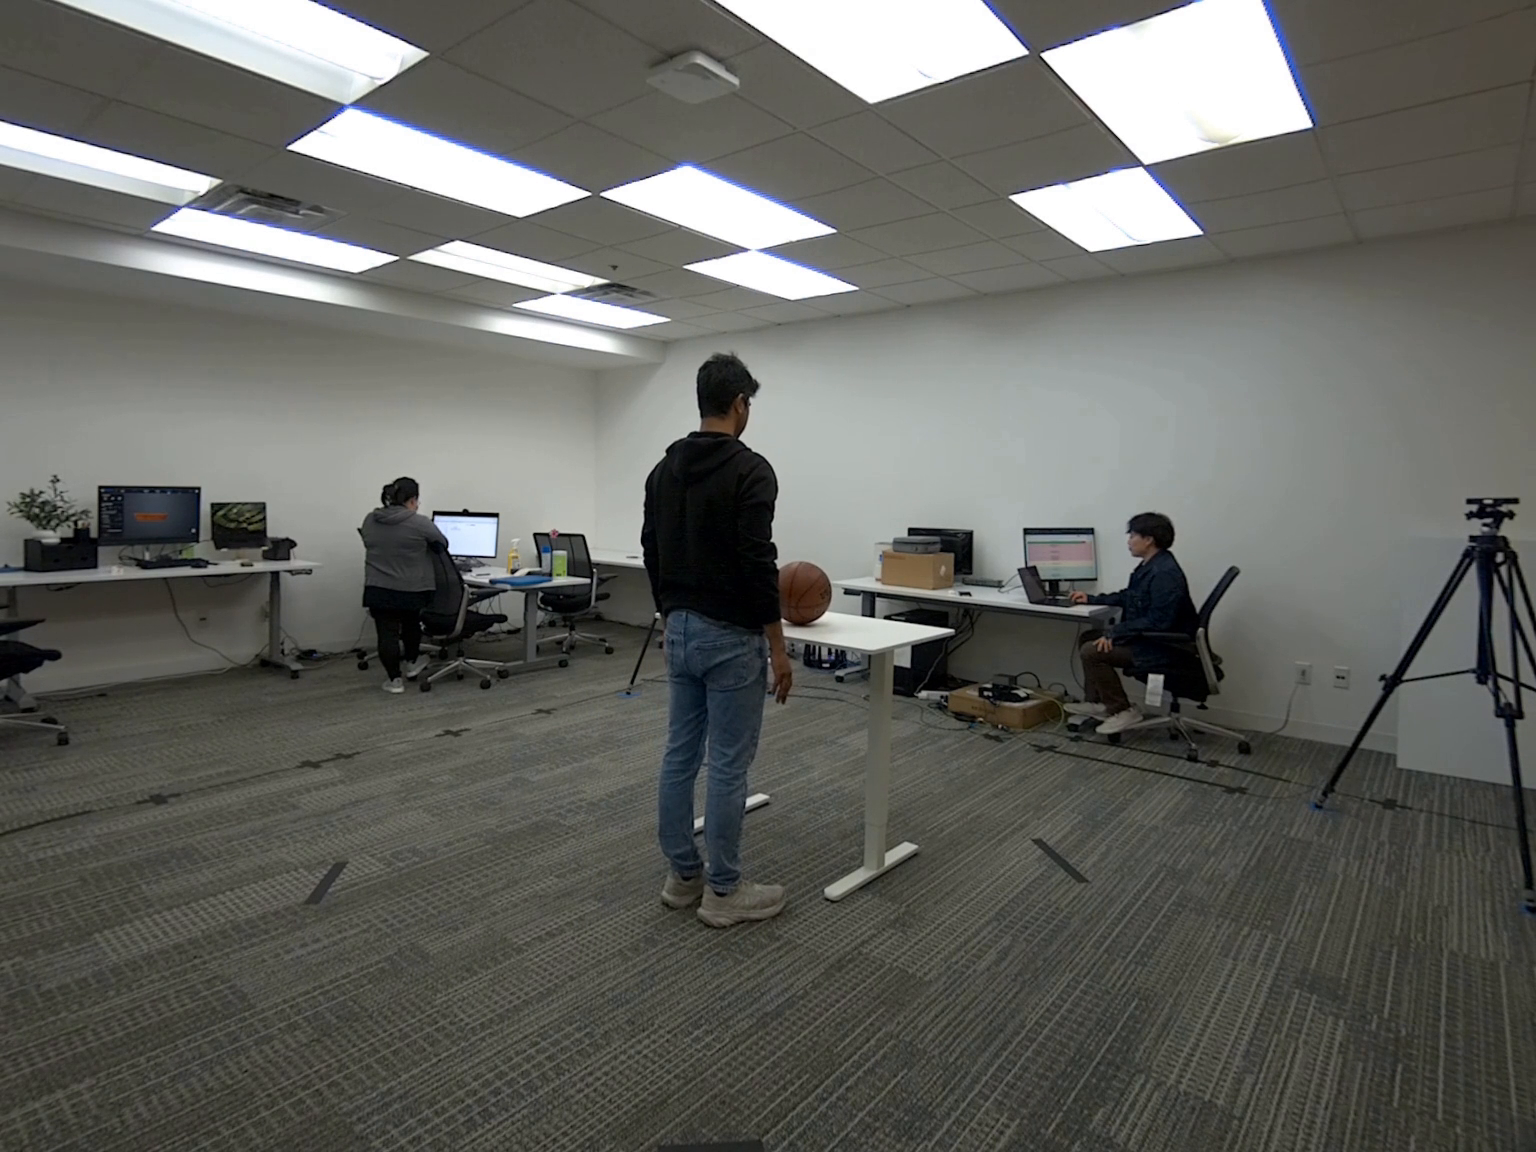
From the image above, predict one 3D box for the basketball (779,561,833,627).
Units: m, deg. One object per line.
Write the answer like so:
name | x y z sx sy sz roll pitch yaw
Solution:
basketball | 0.120 0.062 3.230 0.235 0.235 0.237 1 4 -2
